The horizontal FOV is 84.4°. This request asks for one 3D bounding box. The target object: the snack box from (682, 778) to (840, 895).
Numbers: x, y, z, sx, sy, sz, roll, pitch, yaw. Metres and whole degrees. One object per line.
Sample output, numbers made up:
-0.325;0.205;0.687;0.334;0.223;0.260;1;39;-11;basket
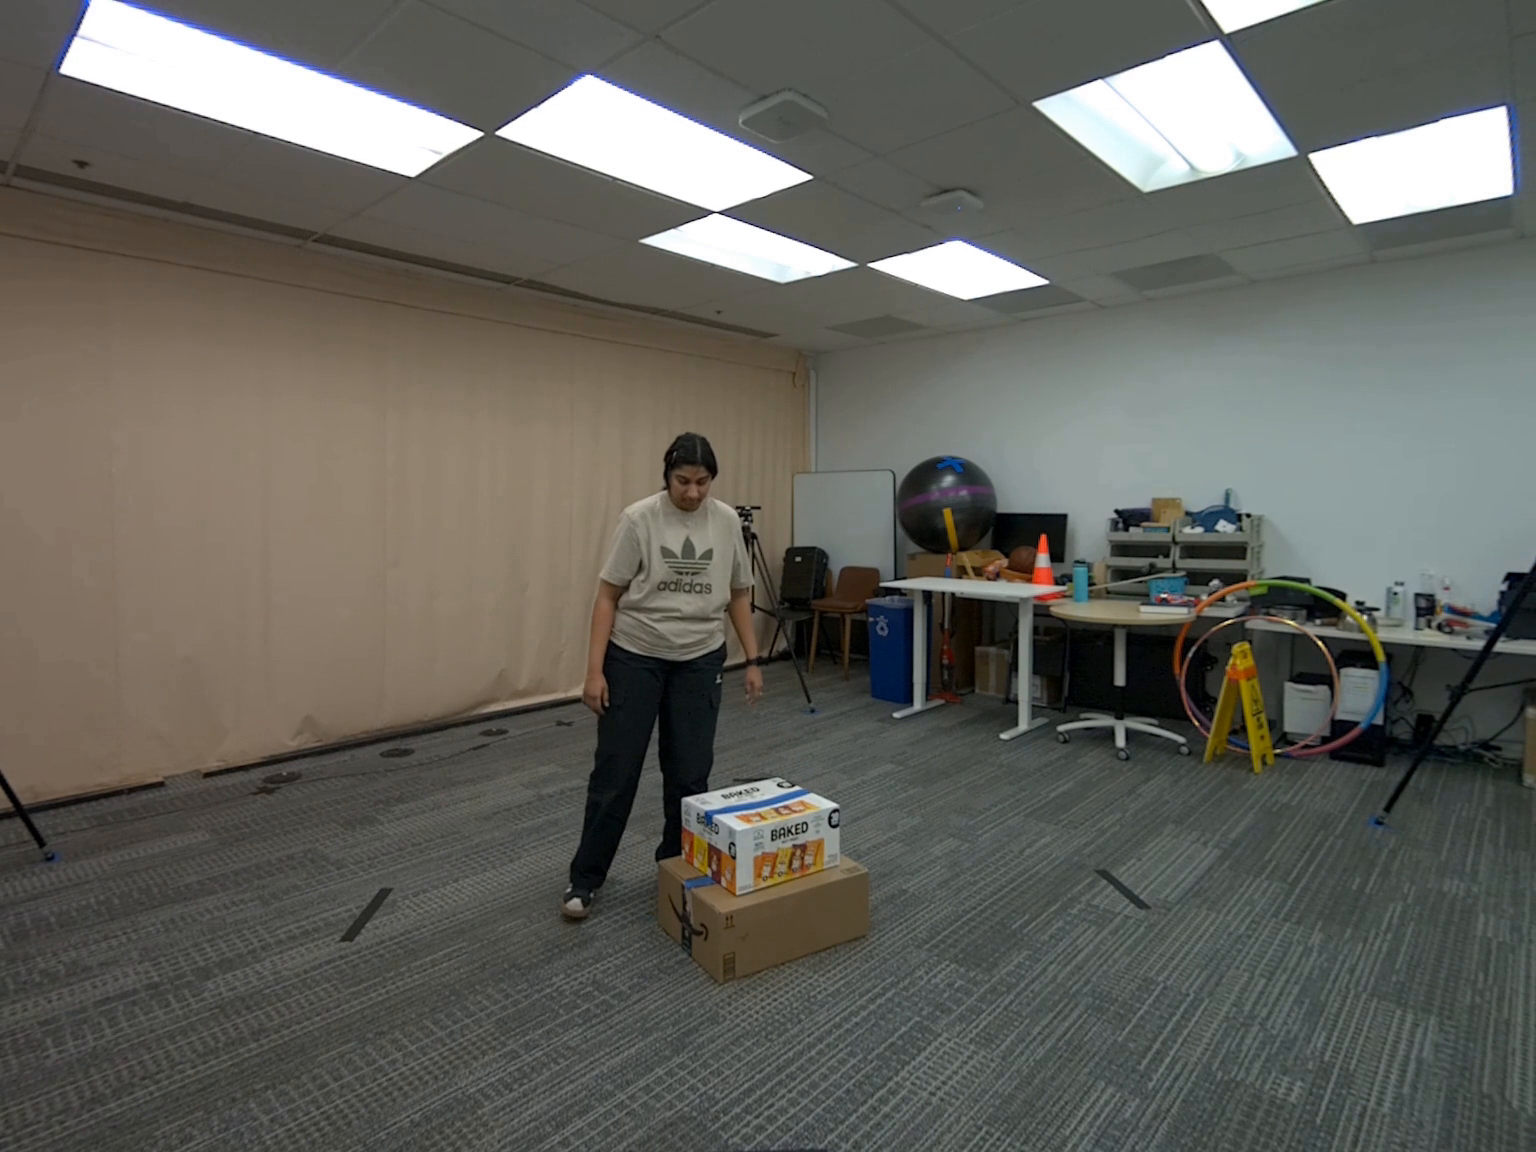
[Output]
-0.022;0.846;2.780;0.394;0.205;0.351;-3;5;-34;snack box
